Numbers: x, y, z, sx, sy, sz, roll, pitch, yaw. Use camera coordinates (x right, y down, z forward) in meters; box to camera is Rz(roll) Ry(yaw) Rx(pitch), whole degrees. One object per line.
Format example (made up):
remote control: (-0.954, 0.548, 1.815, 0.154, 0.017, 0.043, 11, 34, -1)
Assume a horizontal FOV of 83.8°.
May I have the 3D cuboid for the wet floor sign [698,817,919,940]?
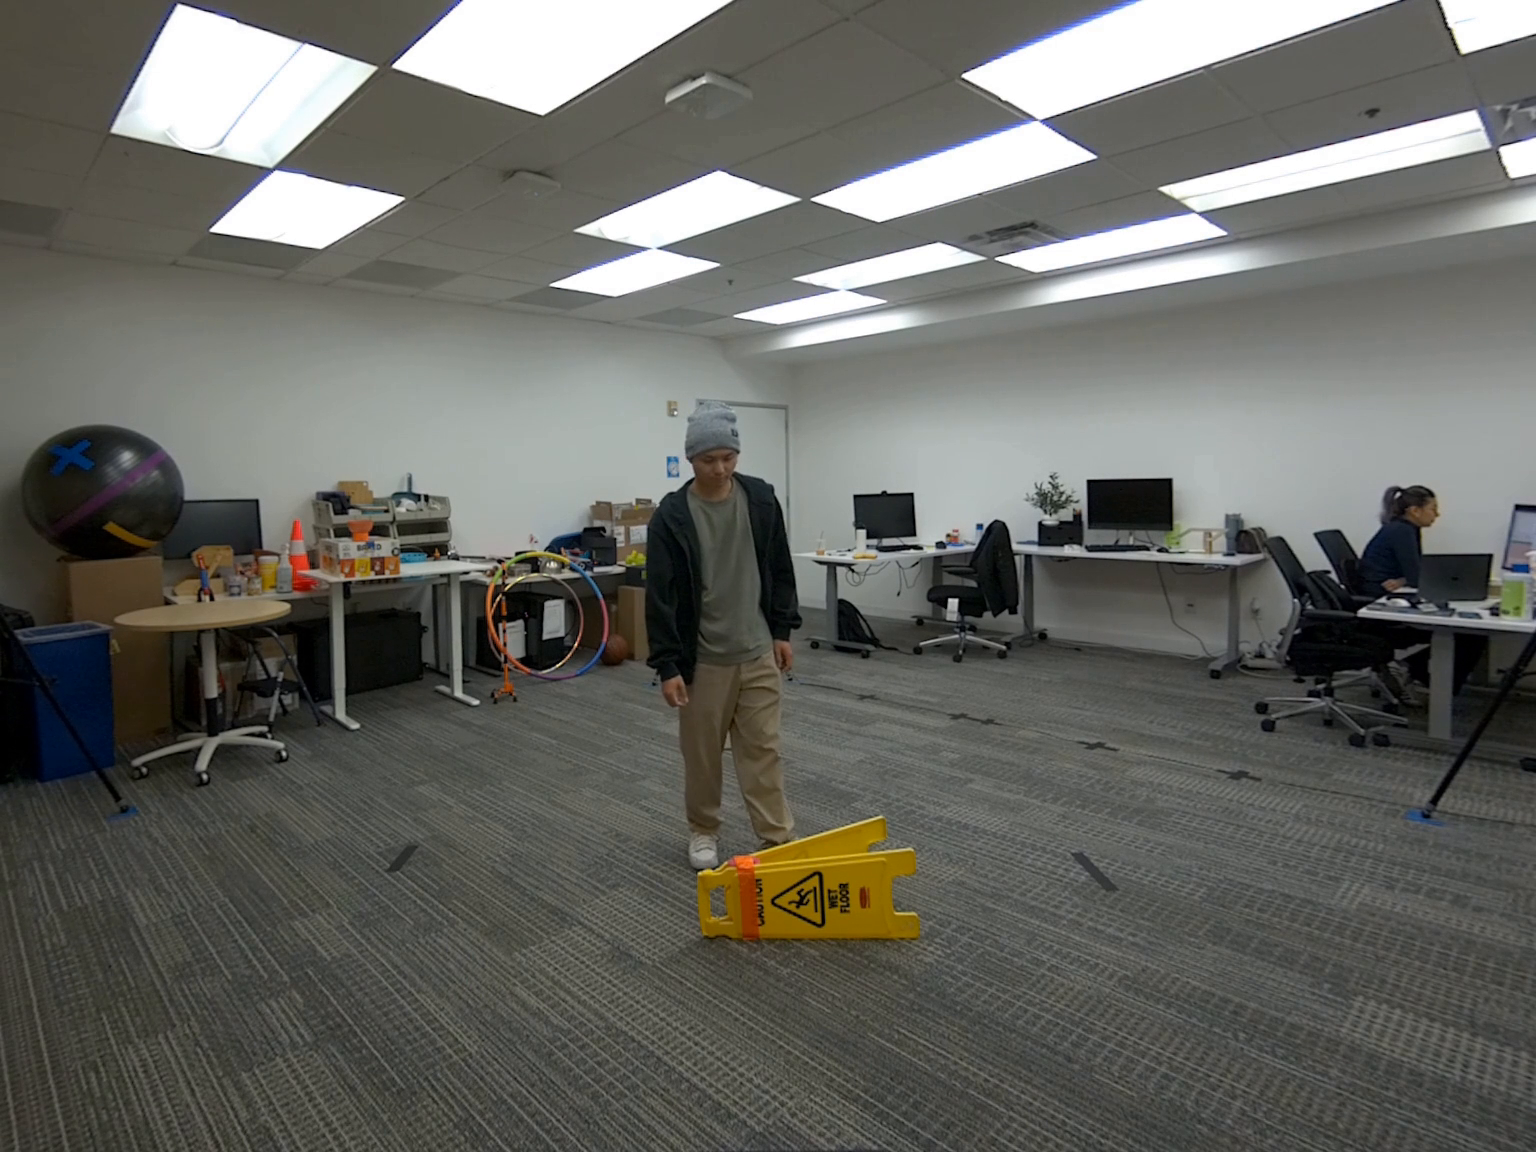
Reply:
wet floor sign: (0.111, 0.970, 2.642, 0.641, 0.281, 0.294, -5, 6, -9)
